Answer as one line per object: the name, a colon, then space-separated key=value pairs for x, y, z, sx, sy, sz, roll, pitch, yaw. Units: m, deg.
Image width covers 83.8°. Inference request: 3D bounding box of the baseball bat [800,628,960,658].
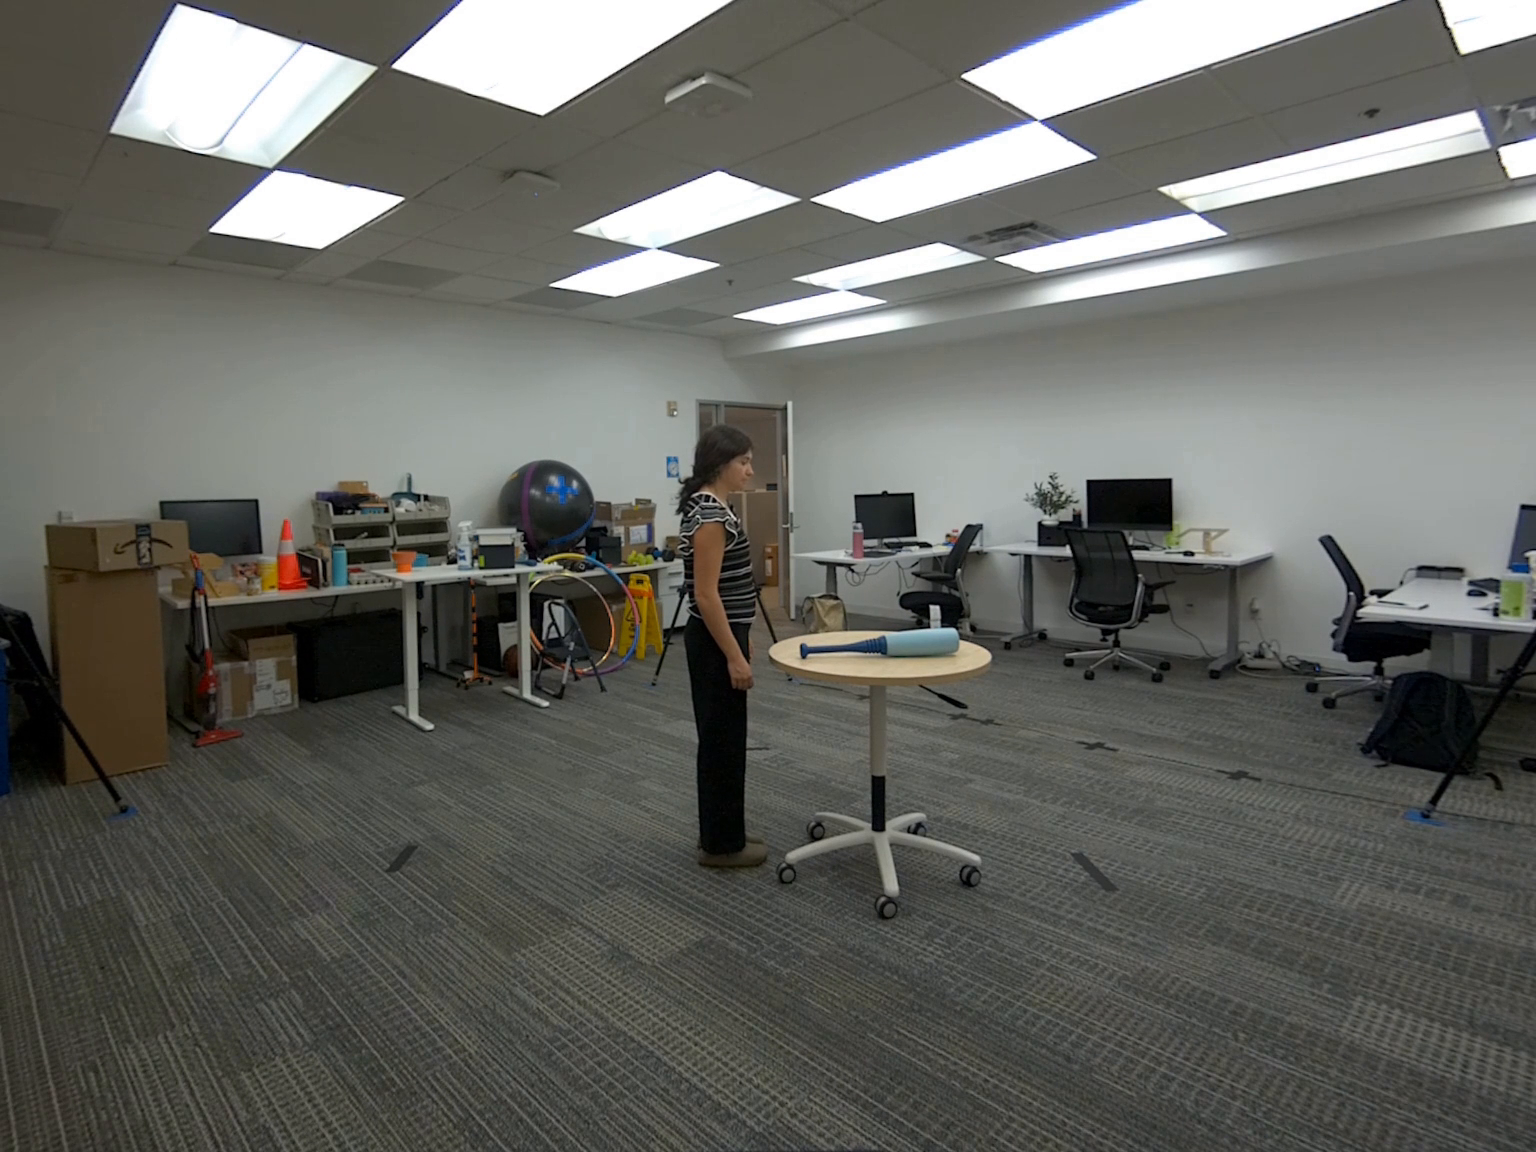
baseball bat: x=0.376 y=0.238 z=2.914 sx=0.541 sy=0.089 sz=0.090 roll=-4 pitch=5 yaw=-4
